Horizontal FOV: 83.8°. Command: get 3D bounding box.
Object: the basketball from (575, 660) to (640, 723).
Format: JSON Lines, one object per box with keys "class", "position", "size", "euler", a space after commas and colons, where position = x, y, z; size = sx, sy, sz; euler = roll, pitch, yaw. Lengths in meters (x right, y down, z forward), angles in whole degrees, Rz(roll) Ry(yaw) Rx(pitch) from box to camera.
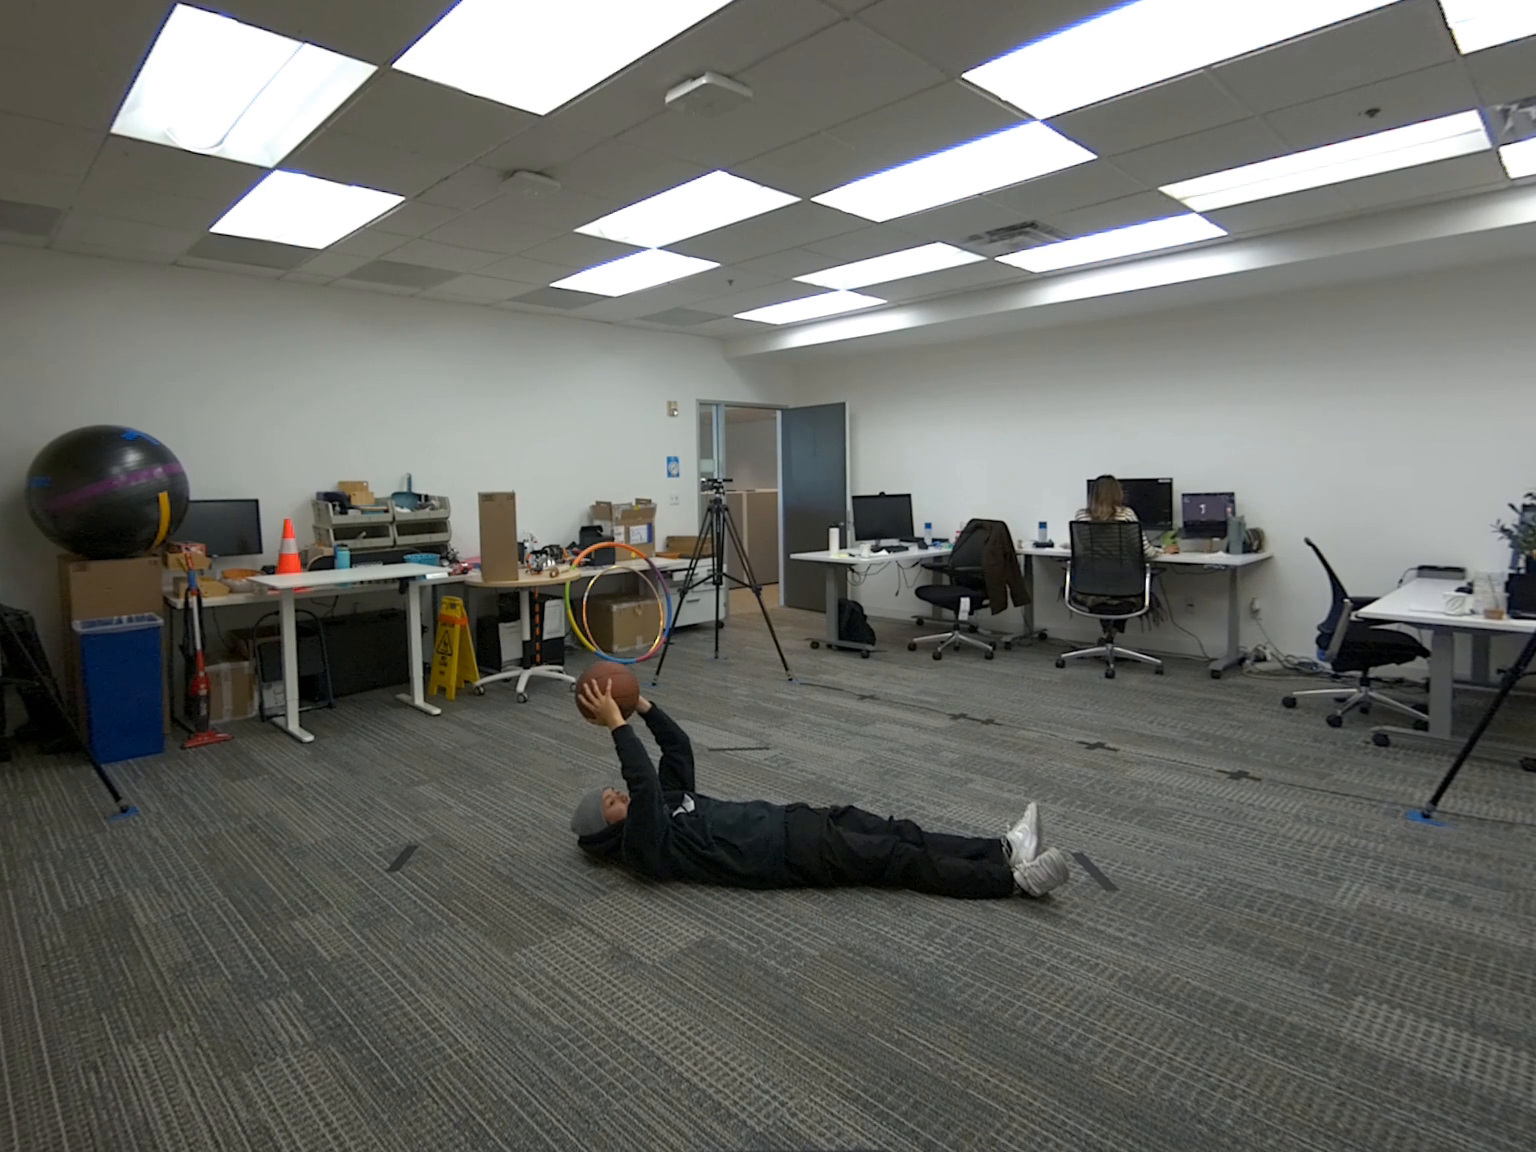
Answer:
{"class": "basketball", "position": [-0.592, 0.437, 3.167], "size": [0.236, 0.235, 0.237], "euler": [-1, 5, -2]}
